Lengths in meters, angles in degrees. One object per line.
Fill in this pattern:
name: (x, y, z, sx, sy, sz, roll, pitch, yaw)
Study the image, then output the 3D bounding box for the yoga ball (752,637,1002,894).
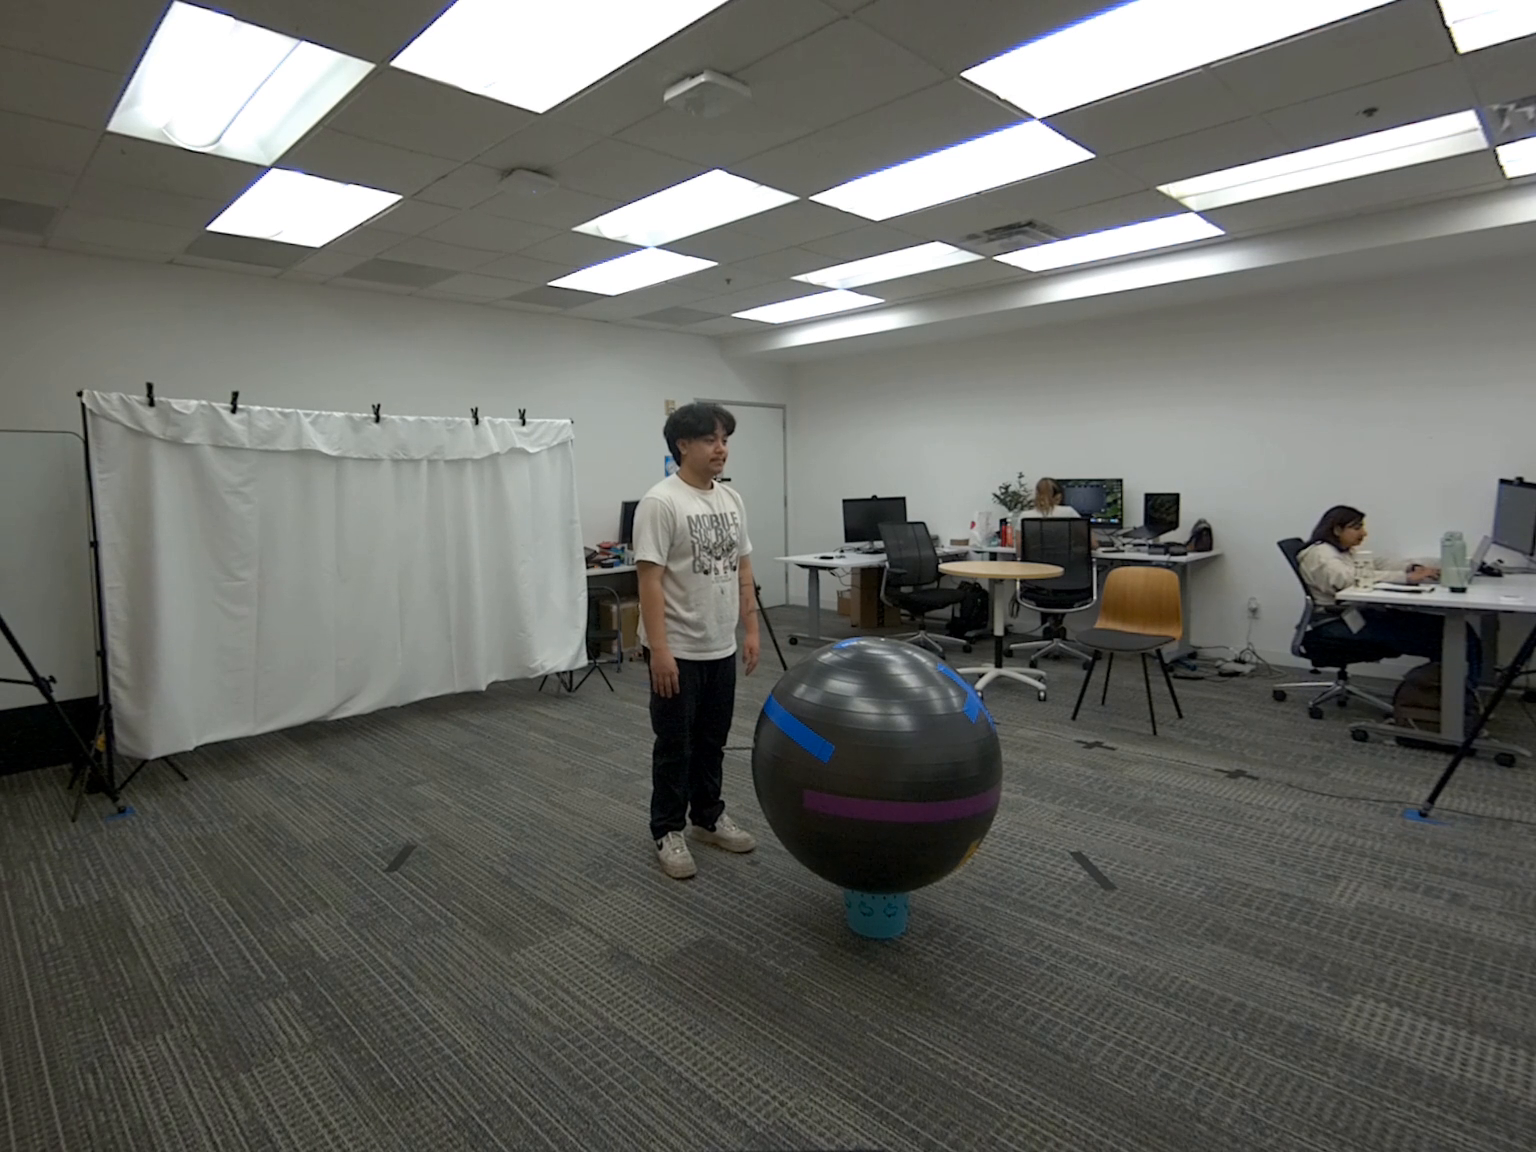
yoga ball: (0.332, 0.577, 2.640, 0.757, 0.755, 0.762, -1, 5, -2)
